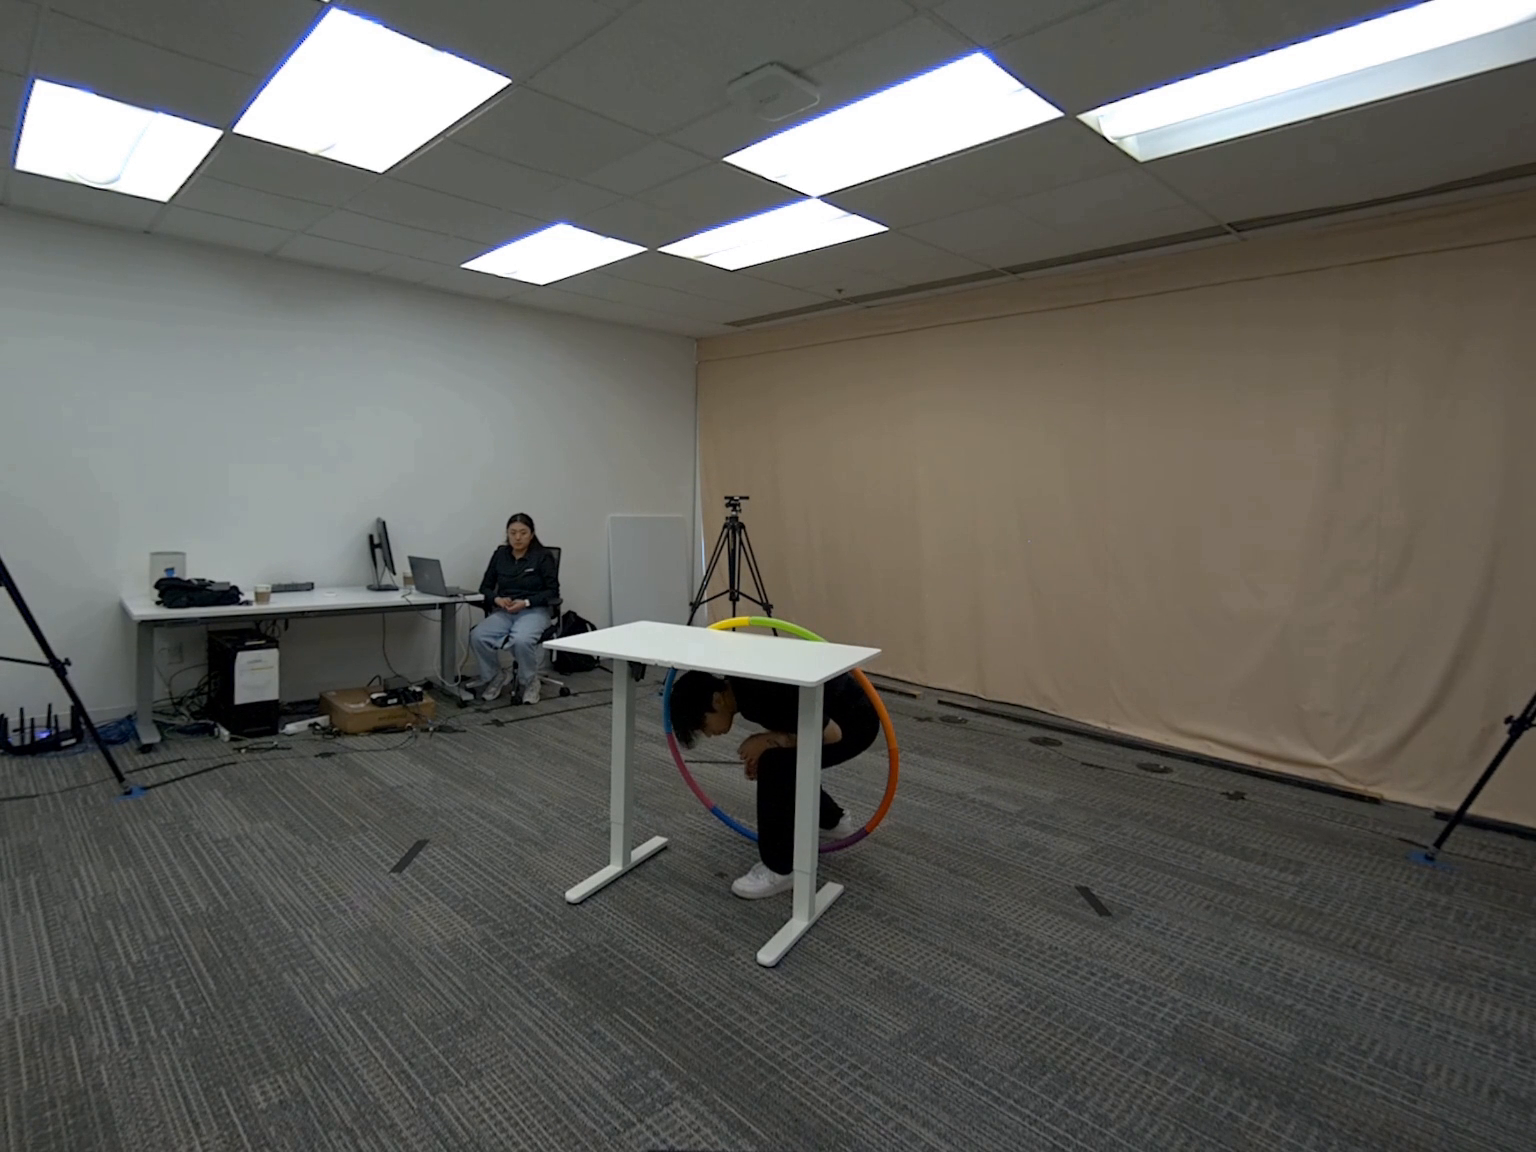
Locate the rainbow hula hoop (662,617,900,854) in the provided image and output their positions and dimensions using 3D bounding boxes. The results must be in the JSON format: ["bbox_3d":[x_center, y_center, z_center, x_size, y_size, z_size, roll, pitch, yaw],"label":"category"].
[{"bbox_3d":[0.011,0.621,3.235,0.999,0.968,0.035,4,16,29],"label":"rainbow hula hoop"}]
